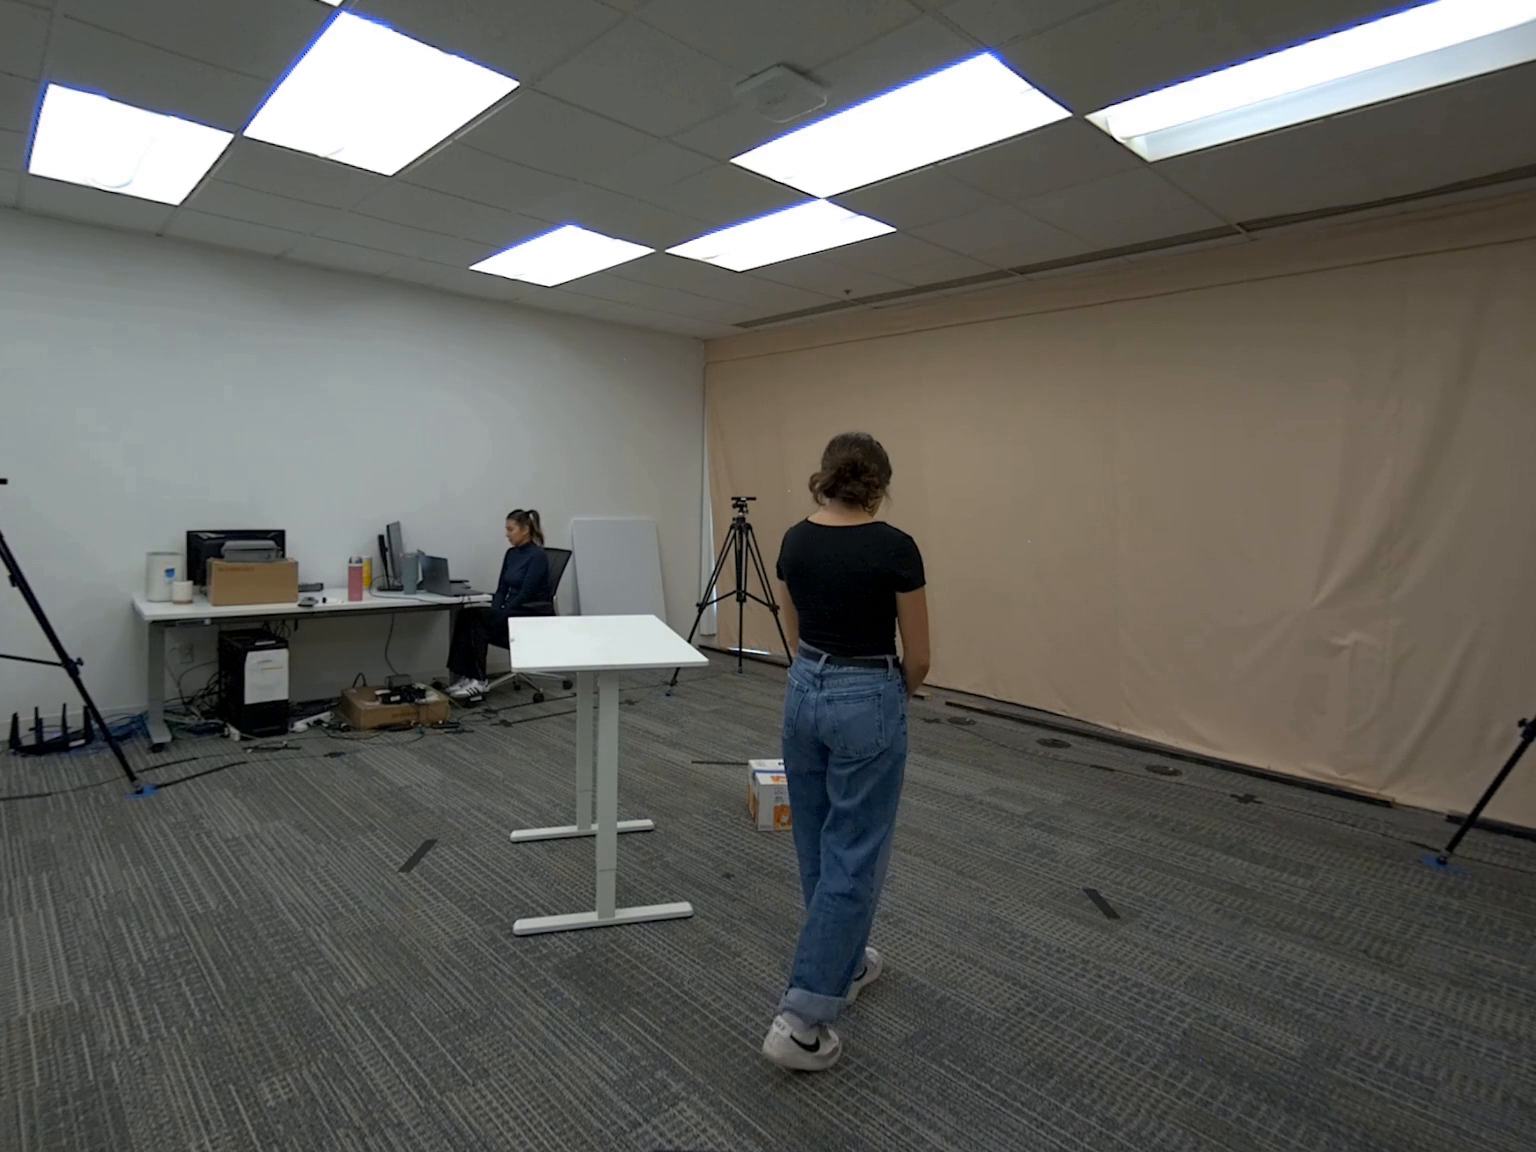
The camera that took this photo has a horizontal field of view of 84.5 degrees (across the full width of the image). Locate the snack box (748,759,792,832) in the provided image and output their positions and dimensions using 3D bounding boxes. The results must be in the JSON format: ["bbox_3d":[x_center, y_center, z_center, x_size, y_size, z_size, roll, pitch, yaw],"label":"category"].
[{"bbox_3d":[0.126,0.959,3.716,0.402,0.205,0.343,1,4,-8],"label":"snack box"}]
